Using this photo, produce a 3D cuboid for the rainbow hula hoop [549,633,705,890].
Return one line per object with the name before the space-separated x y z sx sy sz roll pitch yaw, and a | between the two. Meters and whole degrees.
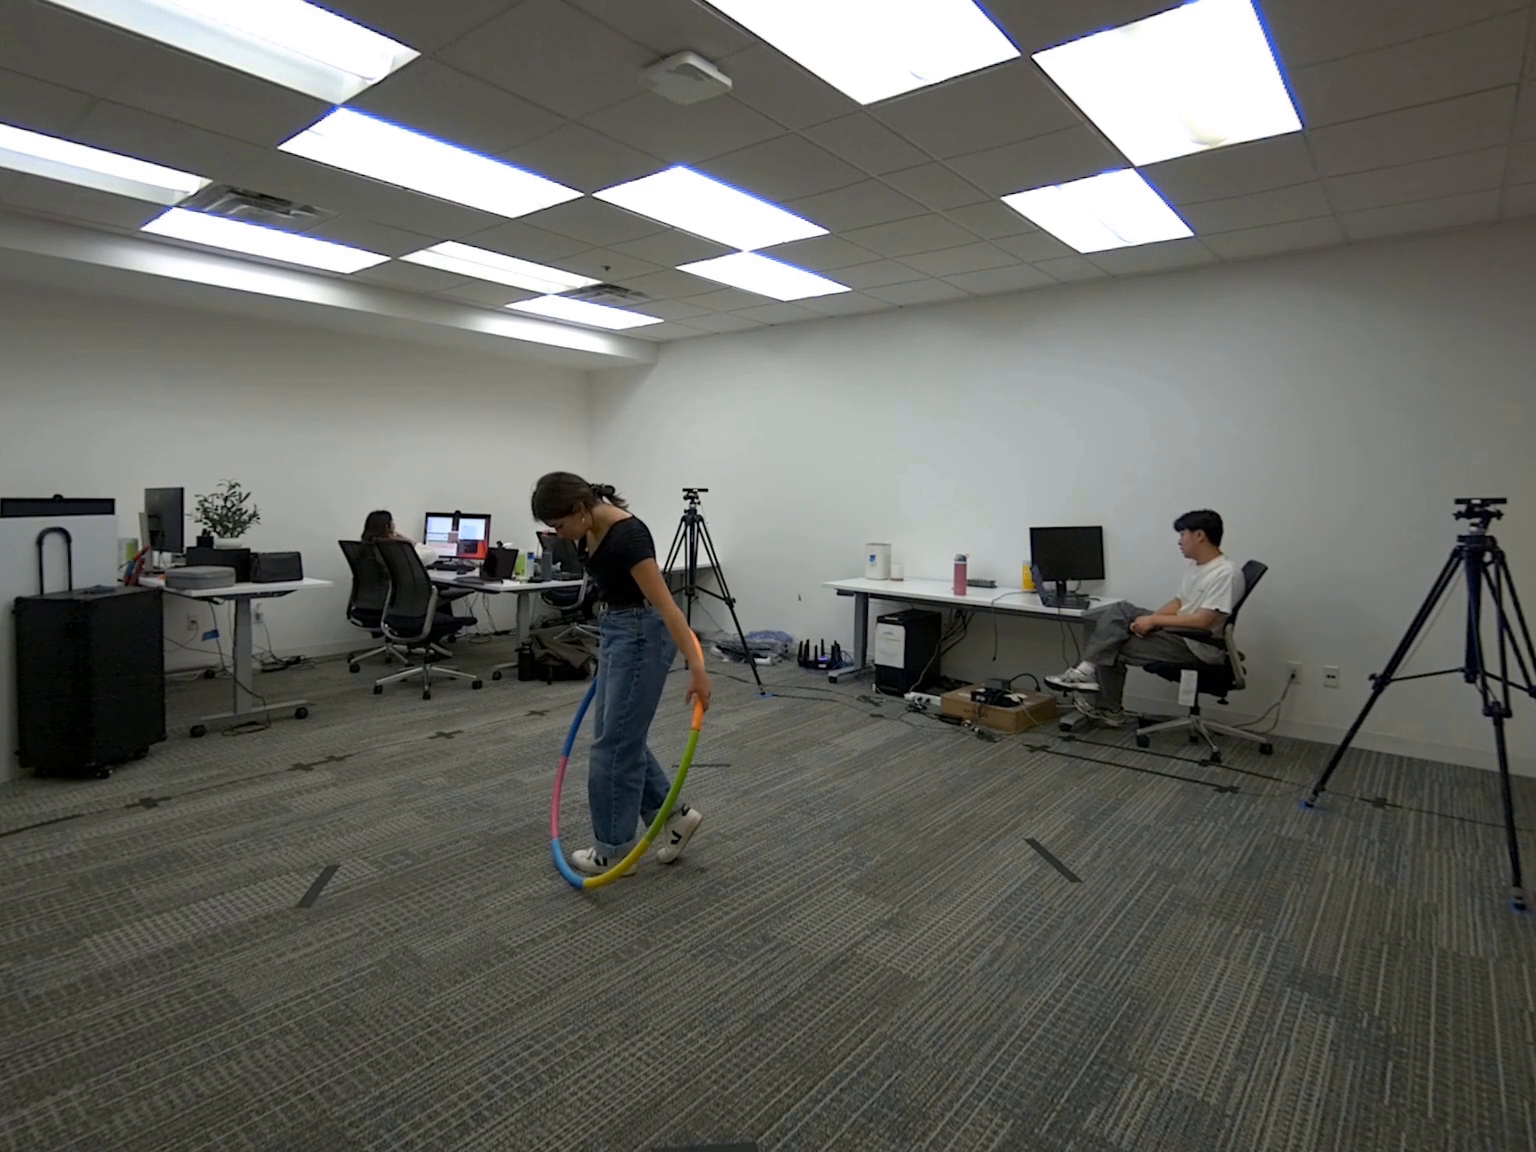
rainbow hula hoop | -0.531 0.614 3.121 0.034 0.983 1.009 30 -11 -30
